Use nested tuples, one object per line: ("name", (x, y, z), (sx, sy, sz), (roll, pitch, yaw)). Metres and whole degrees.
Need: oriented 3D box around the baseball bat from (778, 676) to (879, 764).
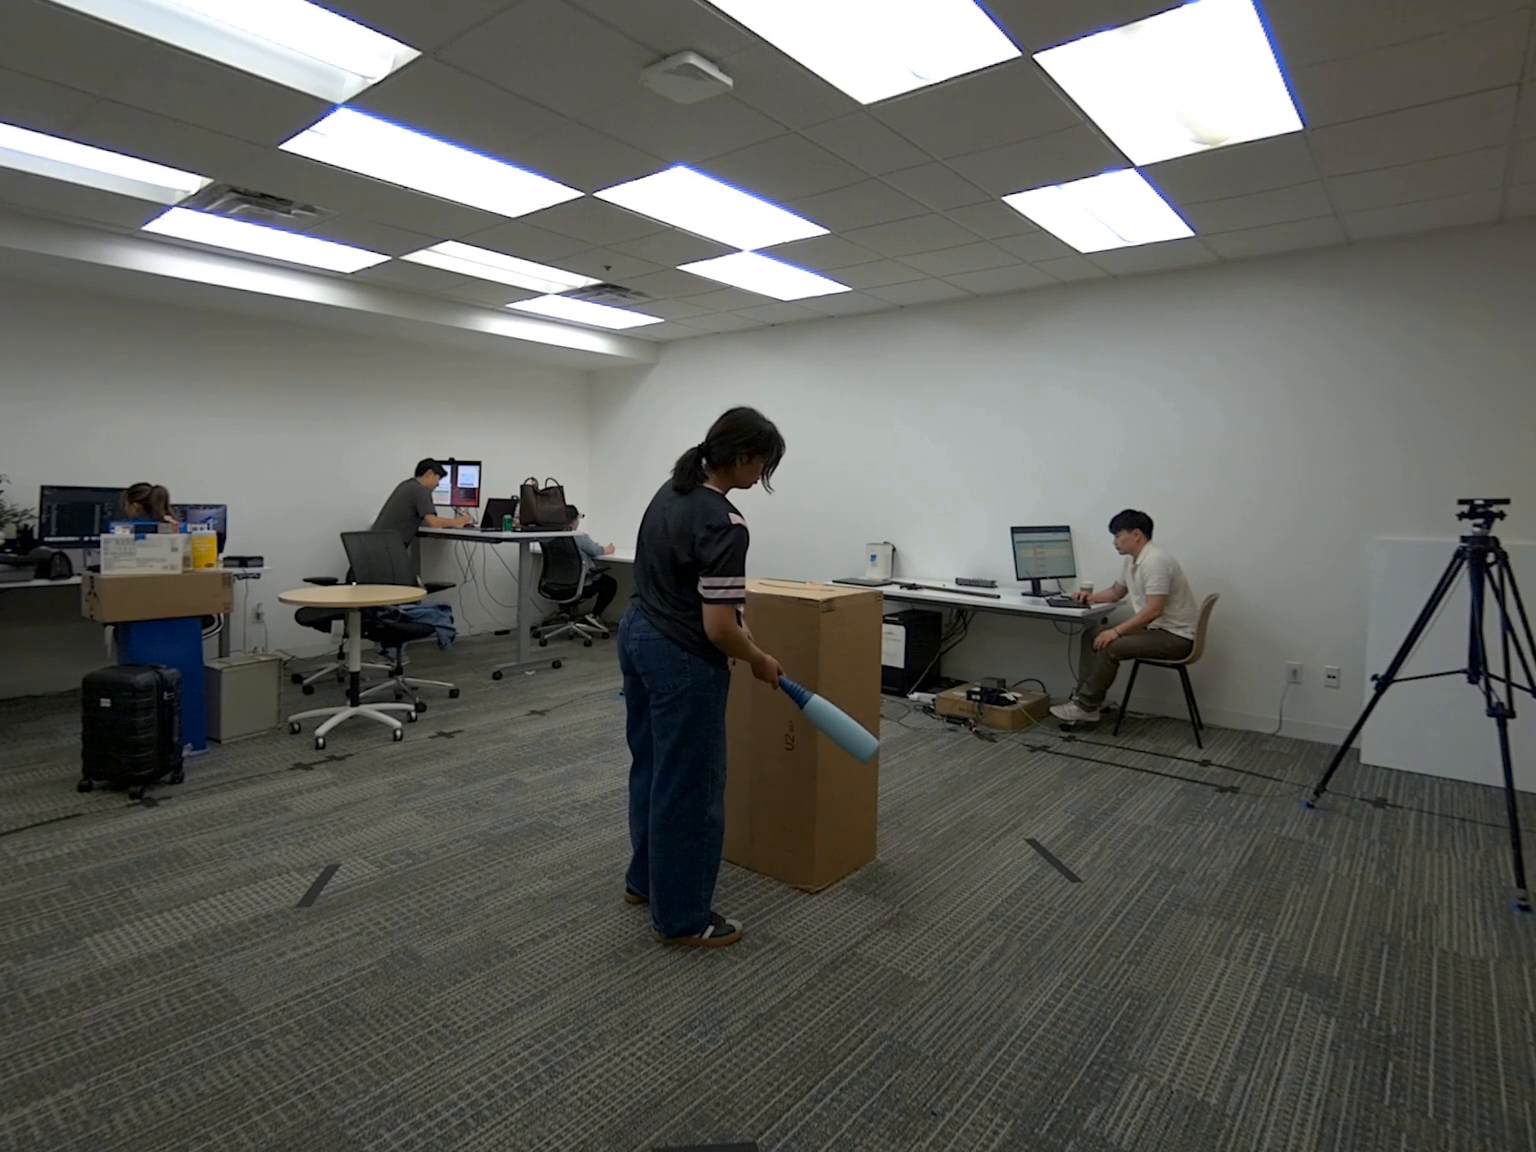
("baseball bat", (0.102, 0.370, 2.629), (0.554, 0.089, 0.087), (37, 13, 14))
